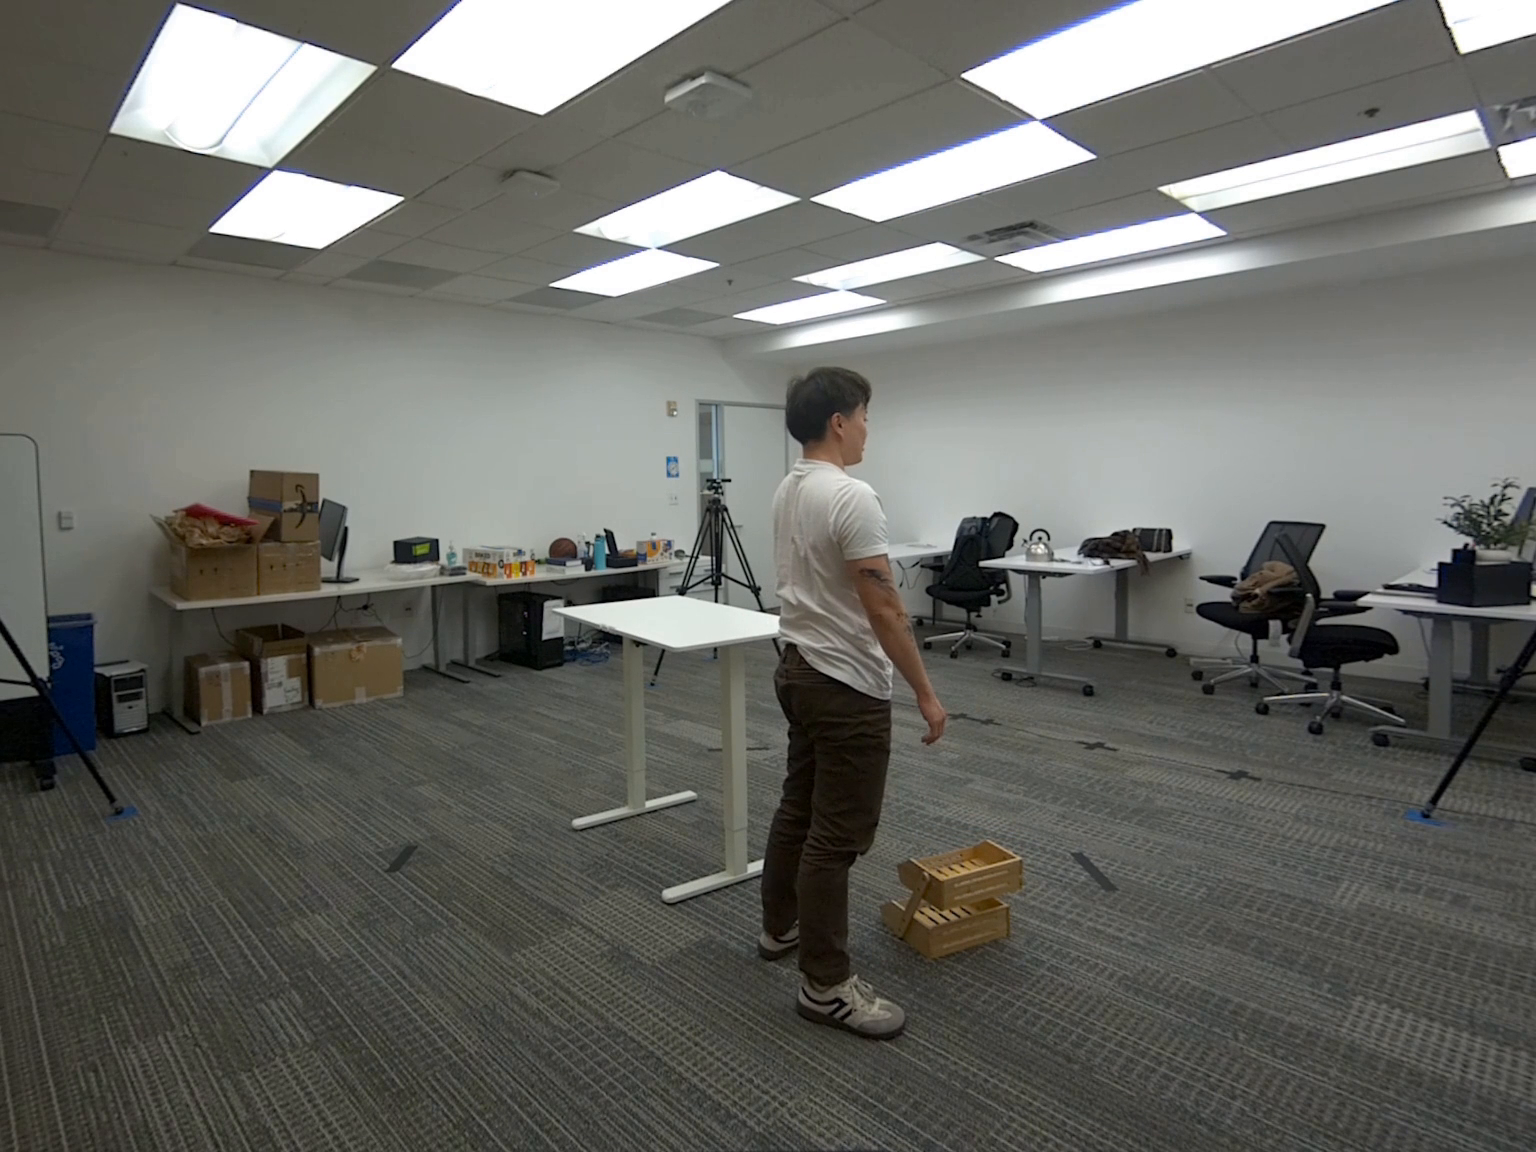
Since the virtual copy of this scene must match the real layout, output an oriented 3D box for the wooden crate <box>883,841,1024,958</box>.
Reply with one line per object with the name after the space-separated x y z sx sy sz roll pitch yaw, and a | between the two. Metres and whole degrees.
0.559 0.956 2.609 0.317 0.272 0.310 -4 7 -27 | wooden crate
